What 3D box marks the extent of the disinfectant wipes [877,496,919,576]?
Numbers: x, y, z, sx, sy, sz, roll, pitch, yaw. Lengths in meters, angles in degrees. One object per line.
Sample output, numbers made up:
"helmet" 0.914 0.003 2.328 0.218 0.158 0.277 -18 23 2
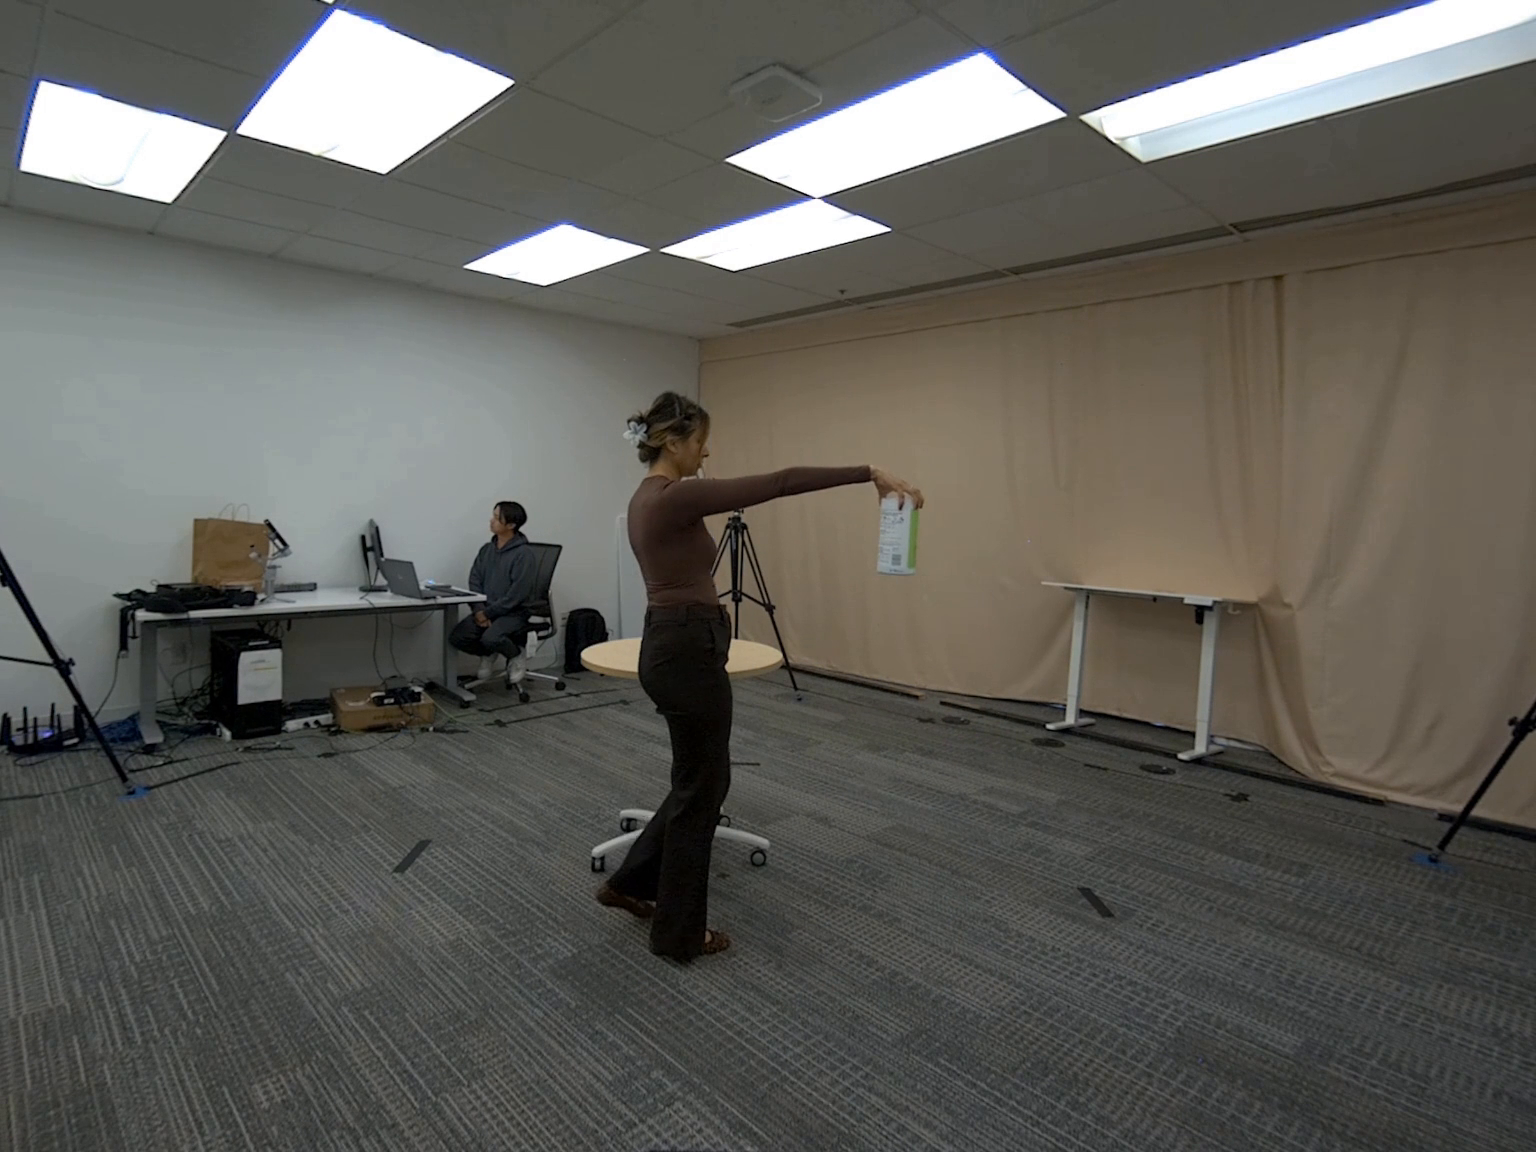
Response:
"disinfectant wipes" 0.367 -0.111 2.386 0.118 0.217 0.118 4 2 -2
